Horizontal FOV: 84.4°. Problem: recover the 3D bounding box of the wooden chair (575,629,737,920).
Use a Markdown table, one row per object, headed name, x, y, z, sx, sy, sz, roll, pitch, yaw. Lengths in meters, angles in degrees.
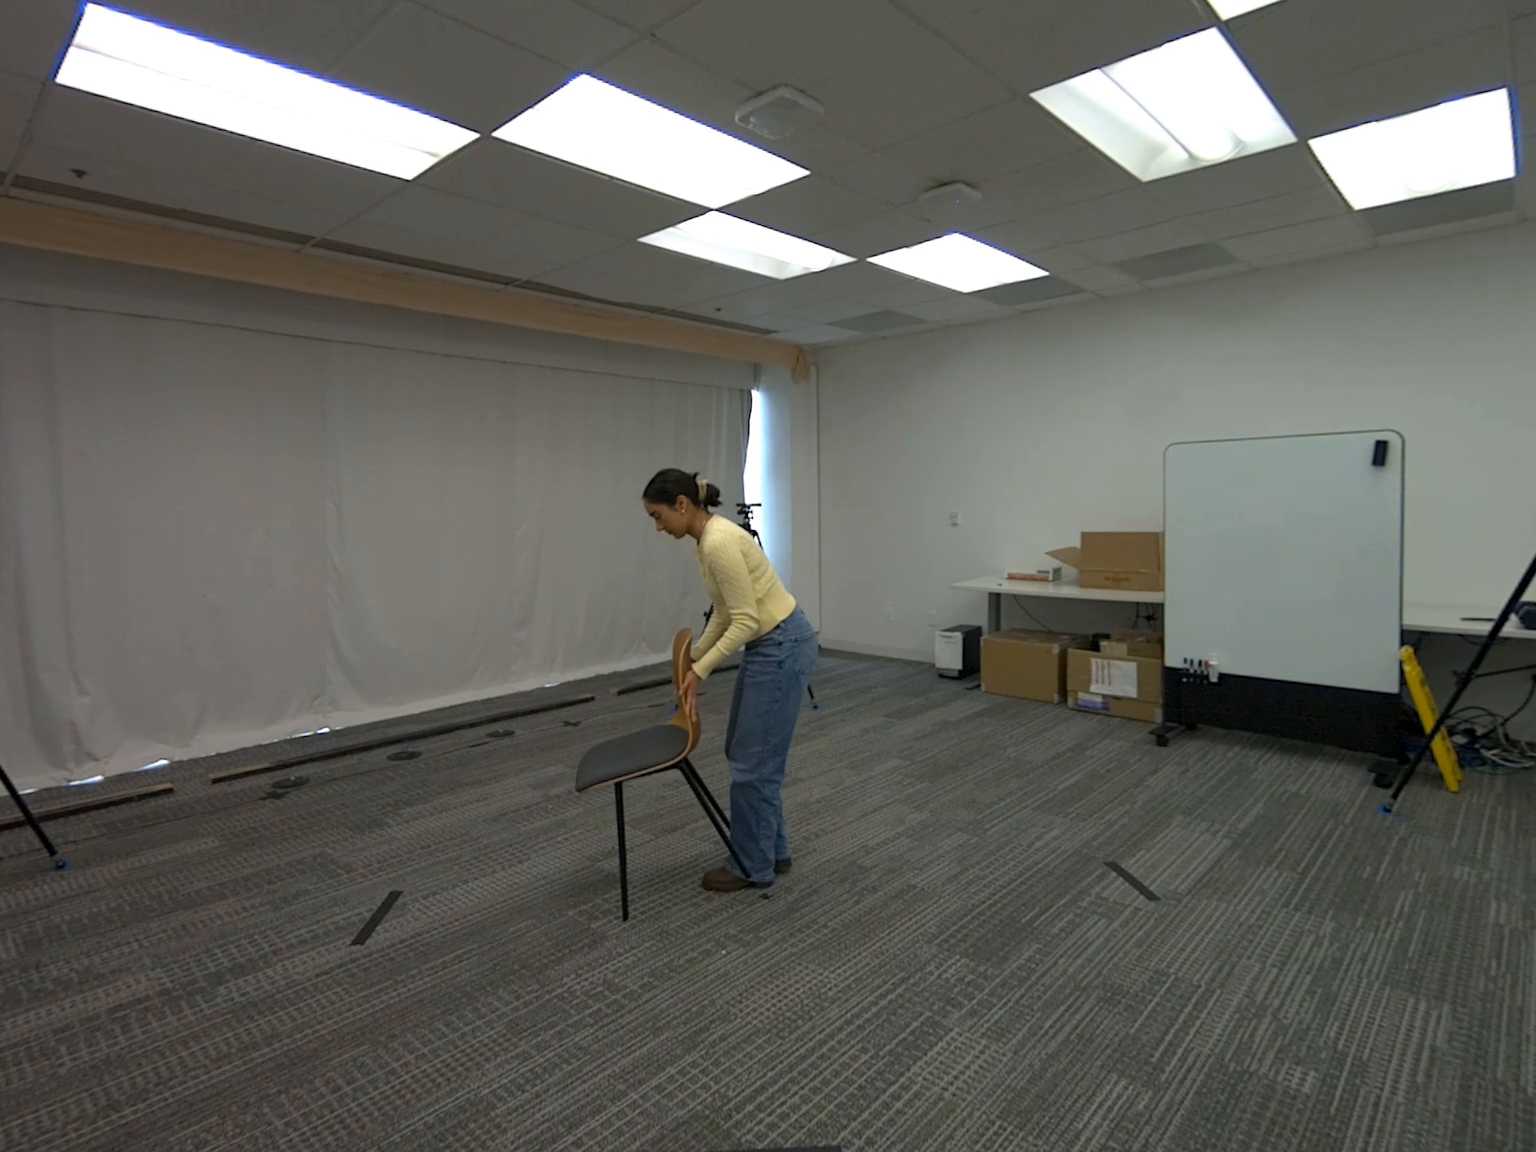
| name | x | y | z | sx | sy | sz | roll | pitch | yaw |
| --- | --- | --- | --- | --- | --- | --- | --- | --- | --- |
| wooden chair | -0.435 | 0.677 | 3.032 | 0.520 | 0.873 | 0.483 | -12 | 5 | -8 |
